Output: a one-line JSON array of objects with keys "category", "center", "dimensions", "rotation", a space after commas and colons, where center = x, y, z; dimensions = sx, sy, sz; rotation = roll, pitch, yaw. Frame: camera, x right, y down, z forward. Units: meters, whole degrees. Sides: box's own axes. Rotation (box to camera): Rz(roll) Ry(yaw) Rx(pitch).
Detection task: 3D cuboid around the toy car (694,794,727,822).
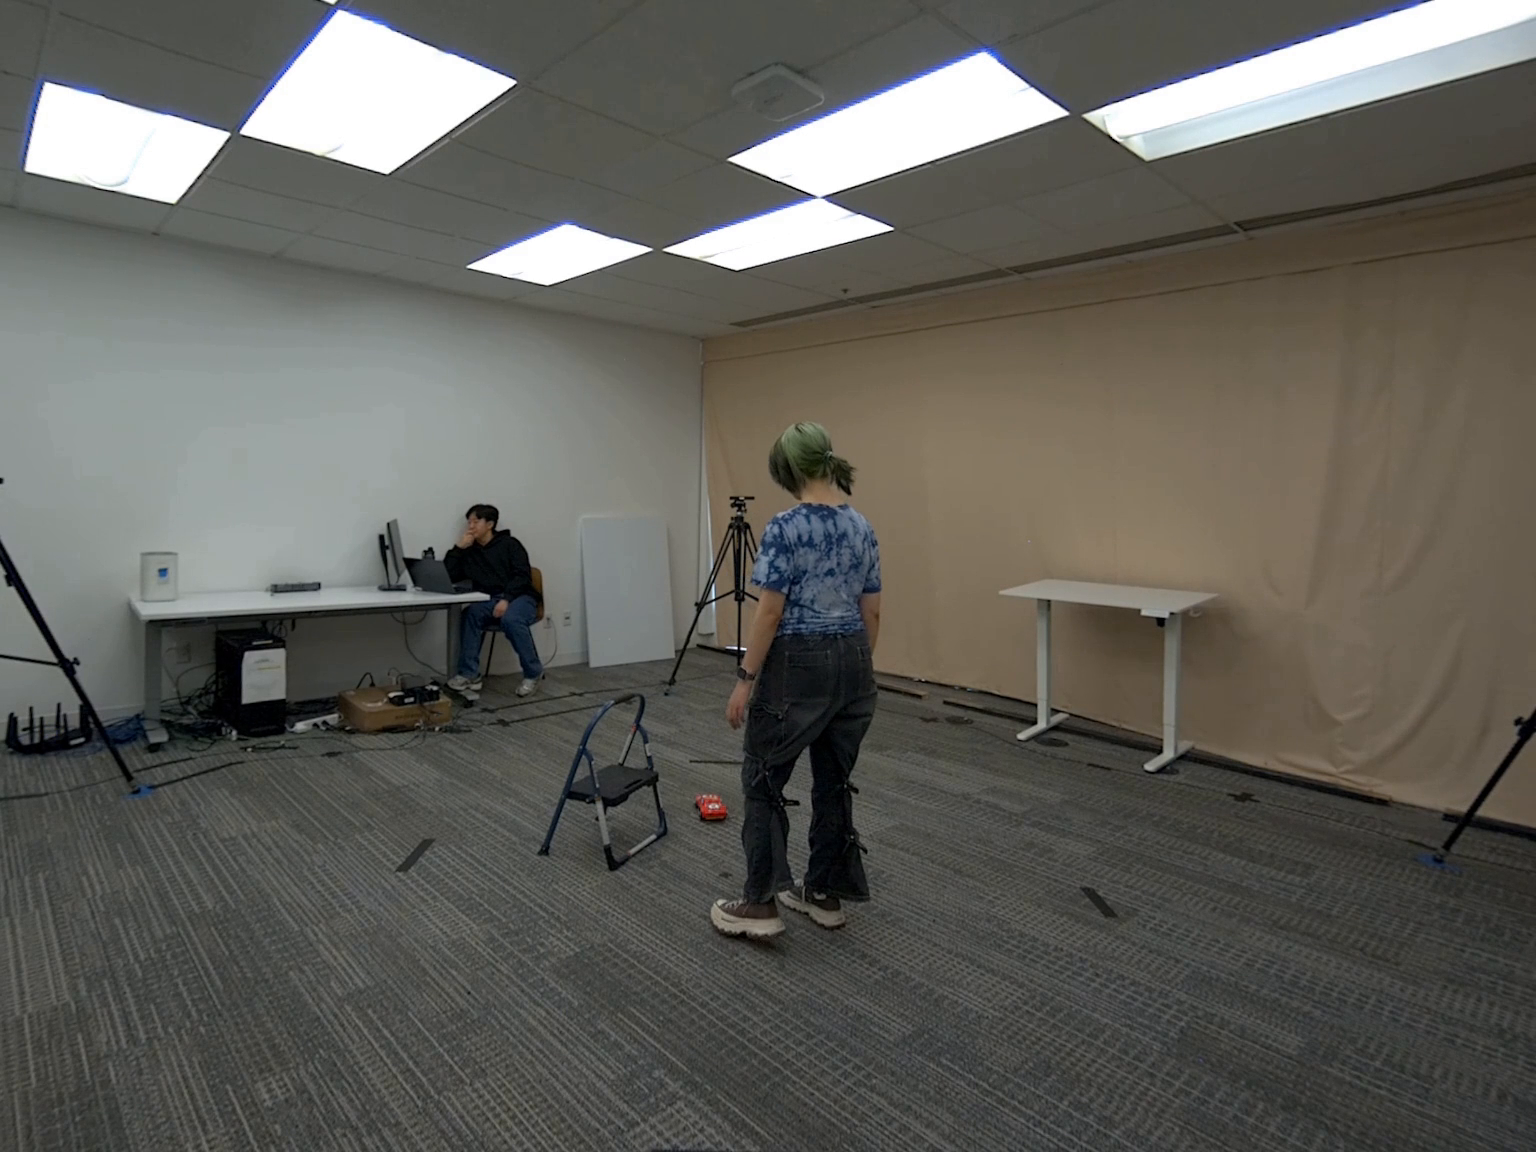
[{"category": "toy car", "center": [-0.259, 1.018, 3.700], "dimensions": [0.129, 0.083, 0.256], "rotation": [1, -5, -12]}]
